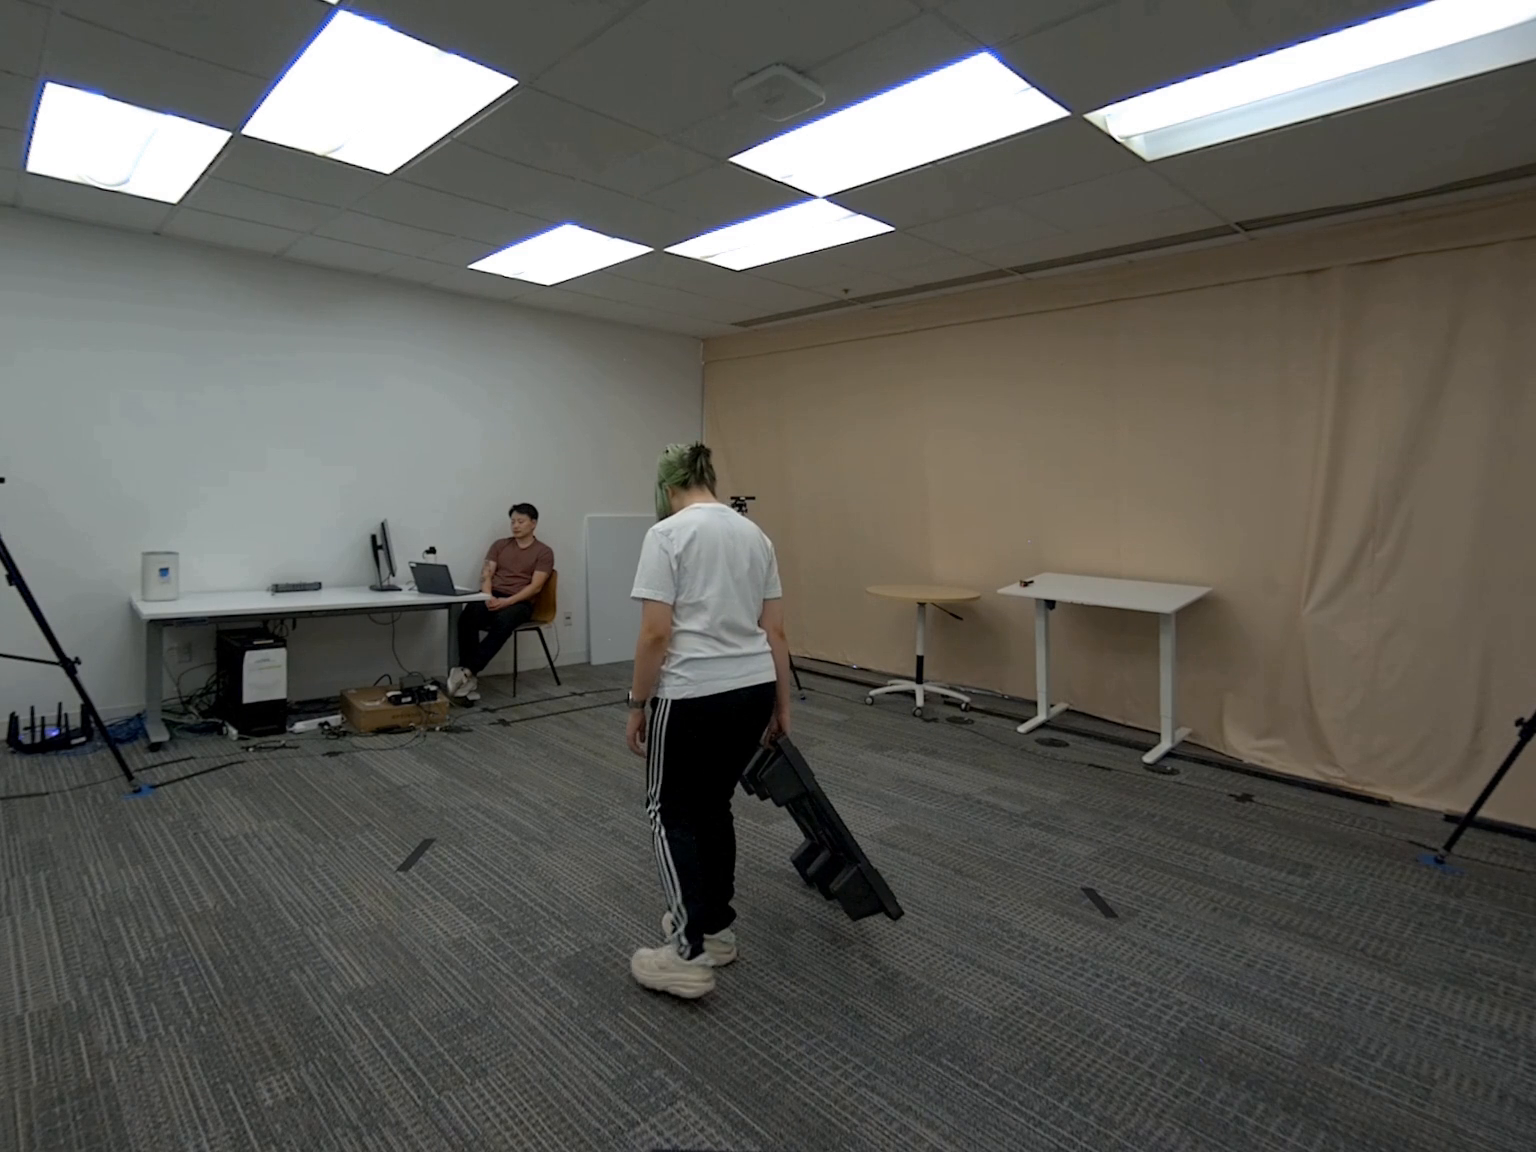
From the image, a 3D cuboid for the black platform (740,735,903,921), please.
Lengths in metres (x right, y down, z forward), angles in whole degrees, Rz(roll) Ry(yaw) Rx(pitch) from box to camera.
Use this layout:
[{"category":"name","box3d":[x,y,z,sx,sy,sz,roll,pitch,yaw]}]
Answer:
[{"category":"black platform","box3d":[0.106,0.811,2.749,0.143,0.610,0.802,-30,-7,-12]}]
